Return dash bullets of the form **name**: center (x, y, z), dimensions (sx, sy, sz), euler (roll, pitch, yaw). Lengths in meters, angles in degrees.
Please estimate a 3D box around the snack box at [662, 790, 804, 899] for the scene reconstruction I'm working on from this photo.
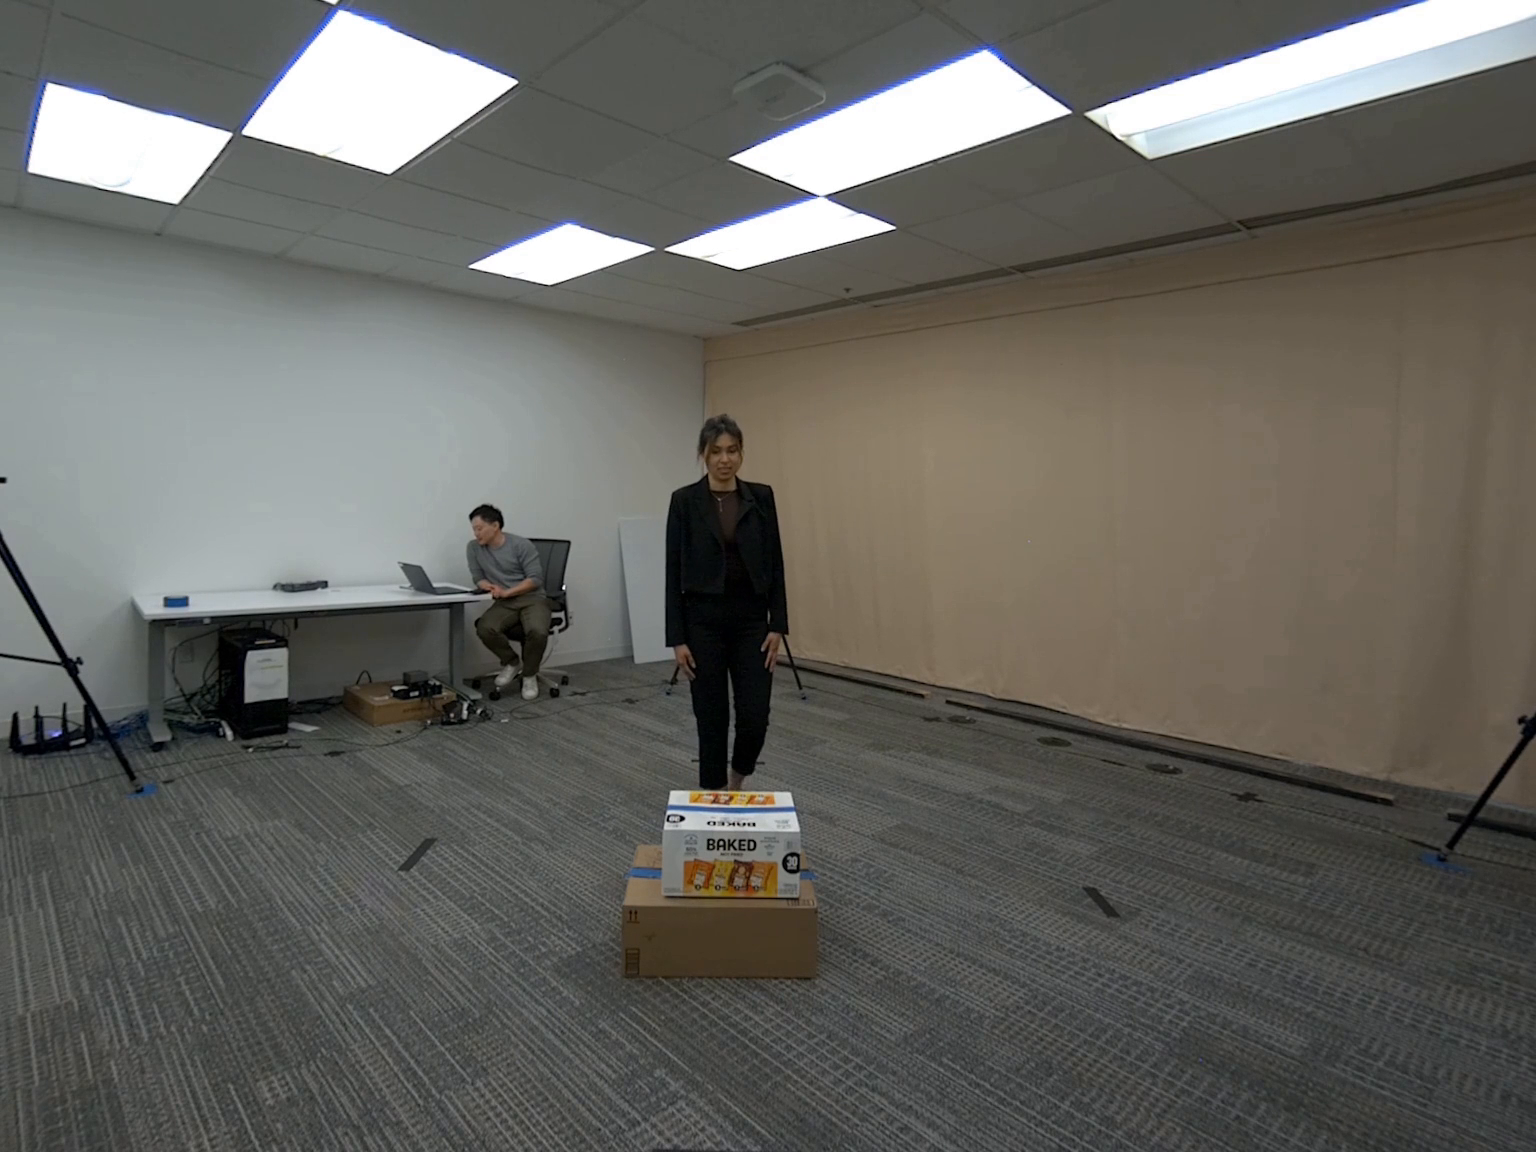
- **snack box**: center (-0.127, 0.831, 2.620), dimensions (0.405, 0.205, 0.341), euler (1, 4, -2)
